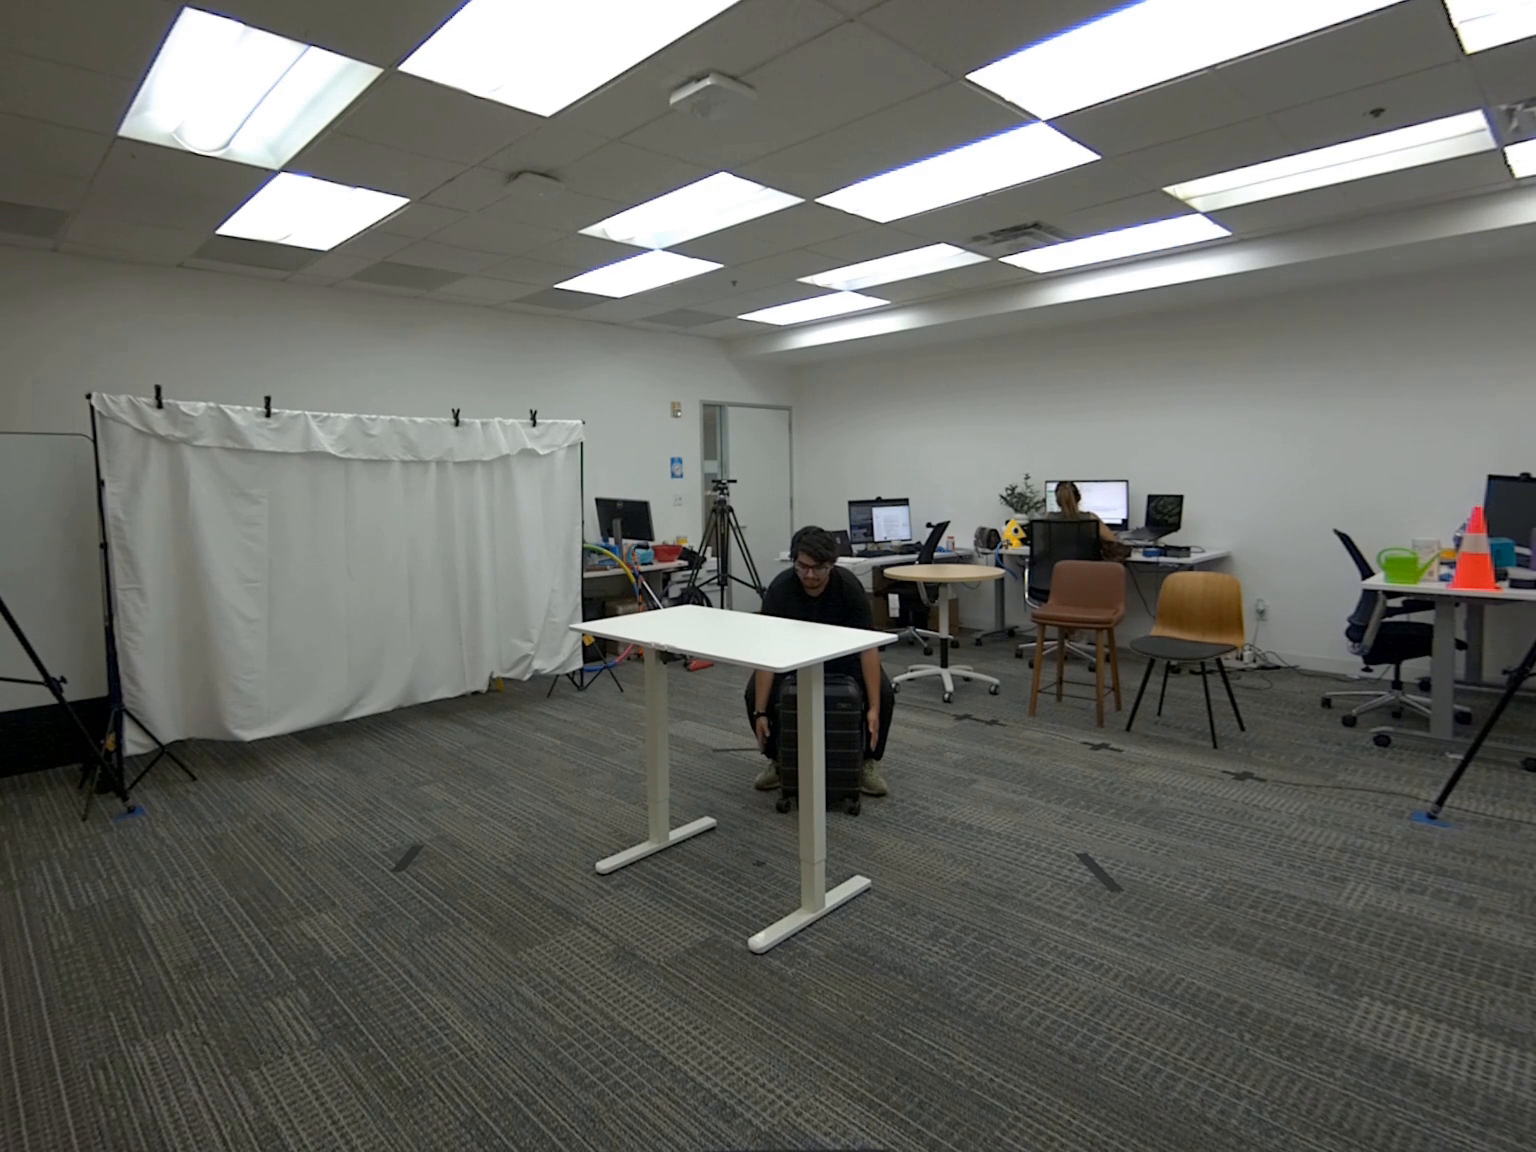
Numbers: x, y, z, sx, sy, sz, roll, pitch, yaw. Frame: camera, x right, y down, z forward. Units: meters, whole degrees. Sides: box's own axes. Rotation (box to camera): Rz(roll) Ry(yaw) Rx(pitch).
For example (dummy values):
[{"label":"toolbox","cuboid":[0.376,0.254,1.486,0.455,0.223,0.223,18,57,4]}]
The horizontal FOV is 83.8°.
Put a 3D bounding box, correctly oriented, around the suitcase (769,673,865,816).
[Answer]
[{"label":"suitcase","cuboid":[0.227,0.703,3.676,0.377,0.547,0.248,1,5,4]}]
